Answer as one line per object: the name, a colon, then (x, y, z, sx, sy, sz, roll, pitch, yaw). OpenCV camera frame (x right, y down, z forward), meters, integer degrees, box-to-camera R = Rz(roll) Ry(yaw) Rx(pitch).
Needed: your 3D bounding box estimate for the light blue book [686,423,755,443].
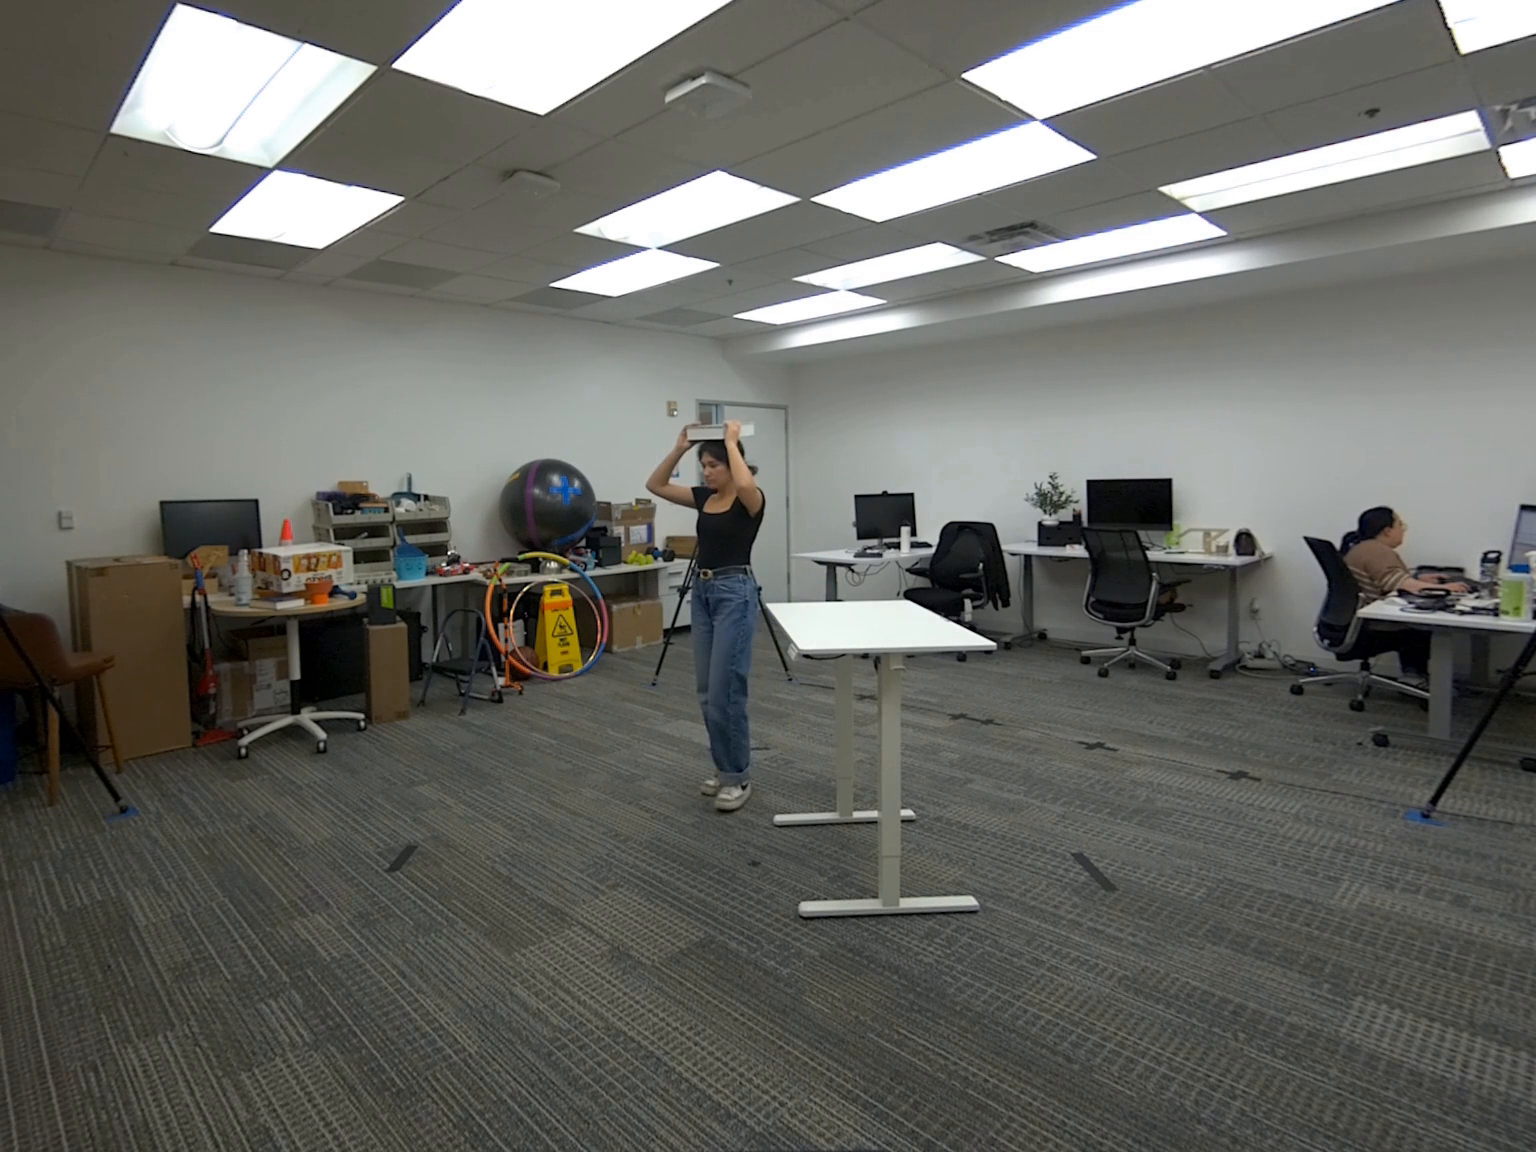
light blue book: (-0.207, -0.640, 3.770, 0.269, 0.058, 0.187, 7, 15, 44)
